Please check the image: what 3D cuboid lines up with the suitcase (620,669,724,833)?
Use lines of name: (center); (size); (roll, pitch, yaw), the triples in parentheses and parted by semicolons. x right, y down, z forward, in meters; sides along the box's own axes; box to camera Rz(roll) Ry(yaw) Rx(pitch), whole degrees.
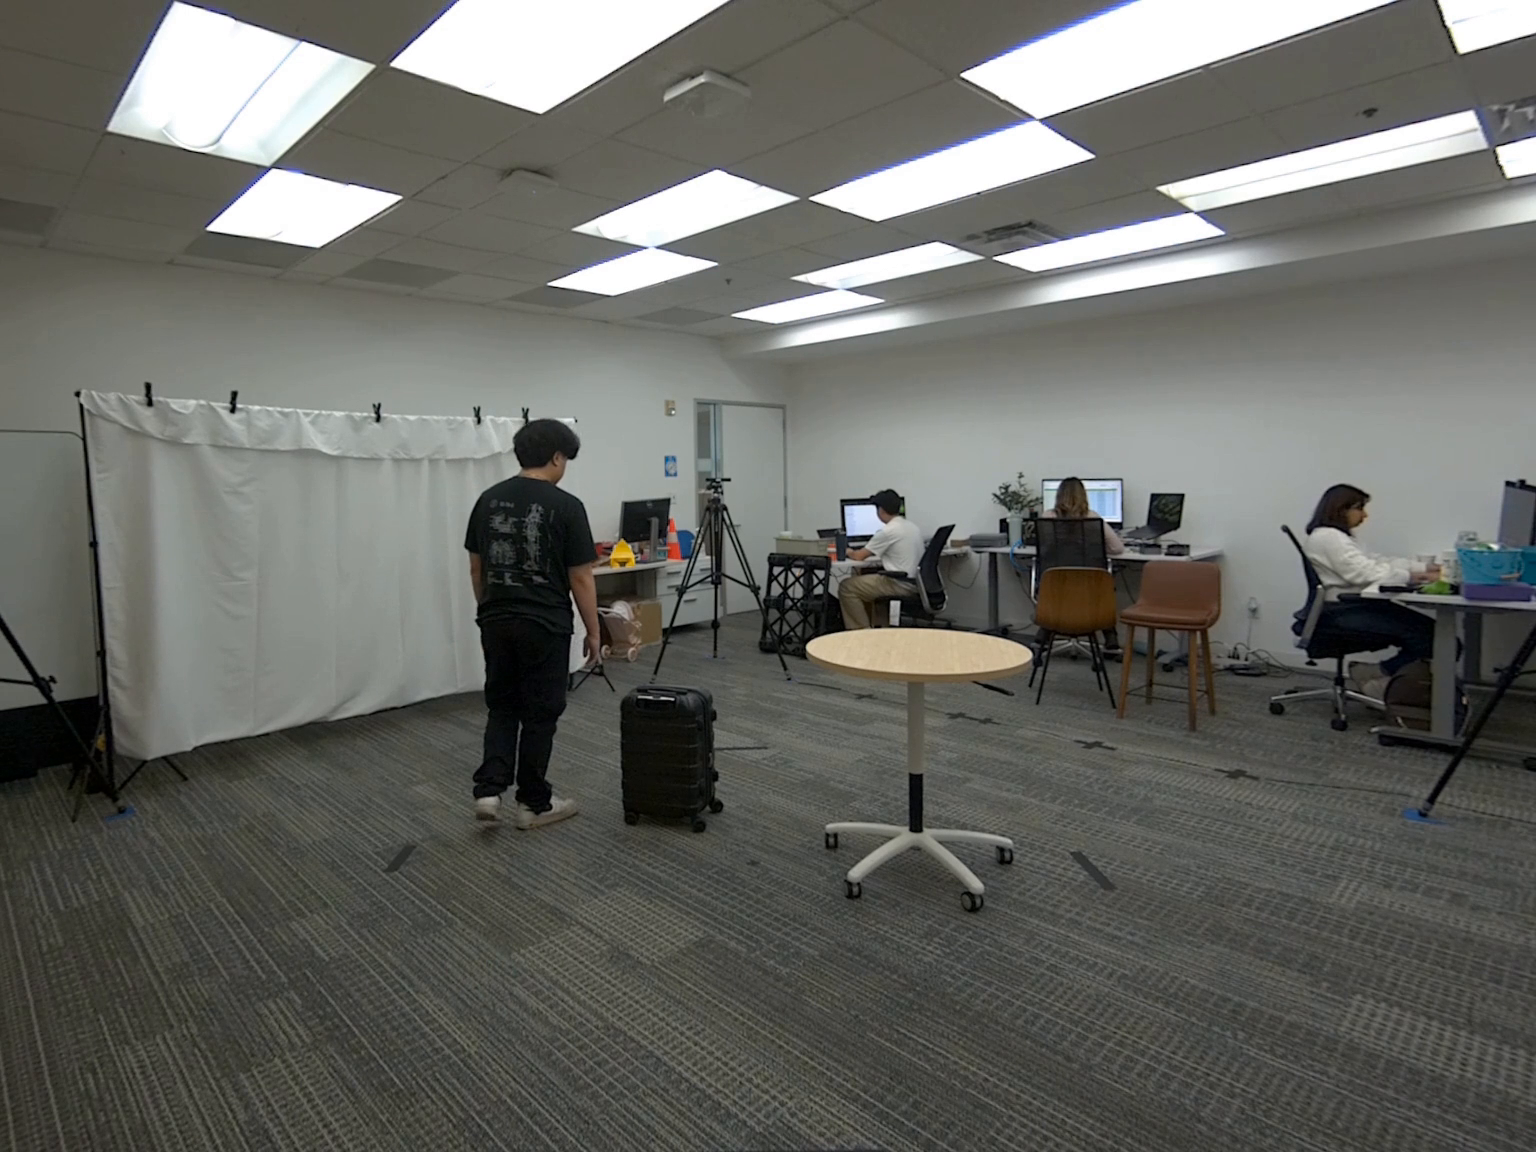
suitcase: (-0.412, 0.726, 3.524); (0.382, 0.548, 0.245); (0, 3, 18)
